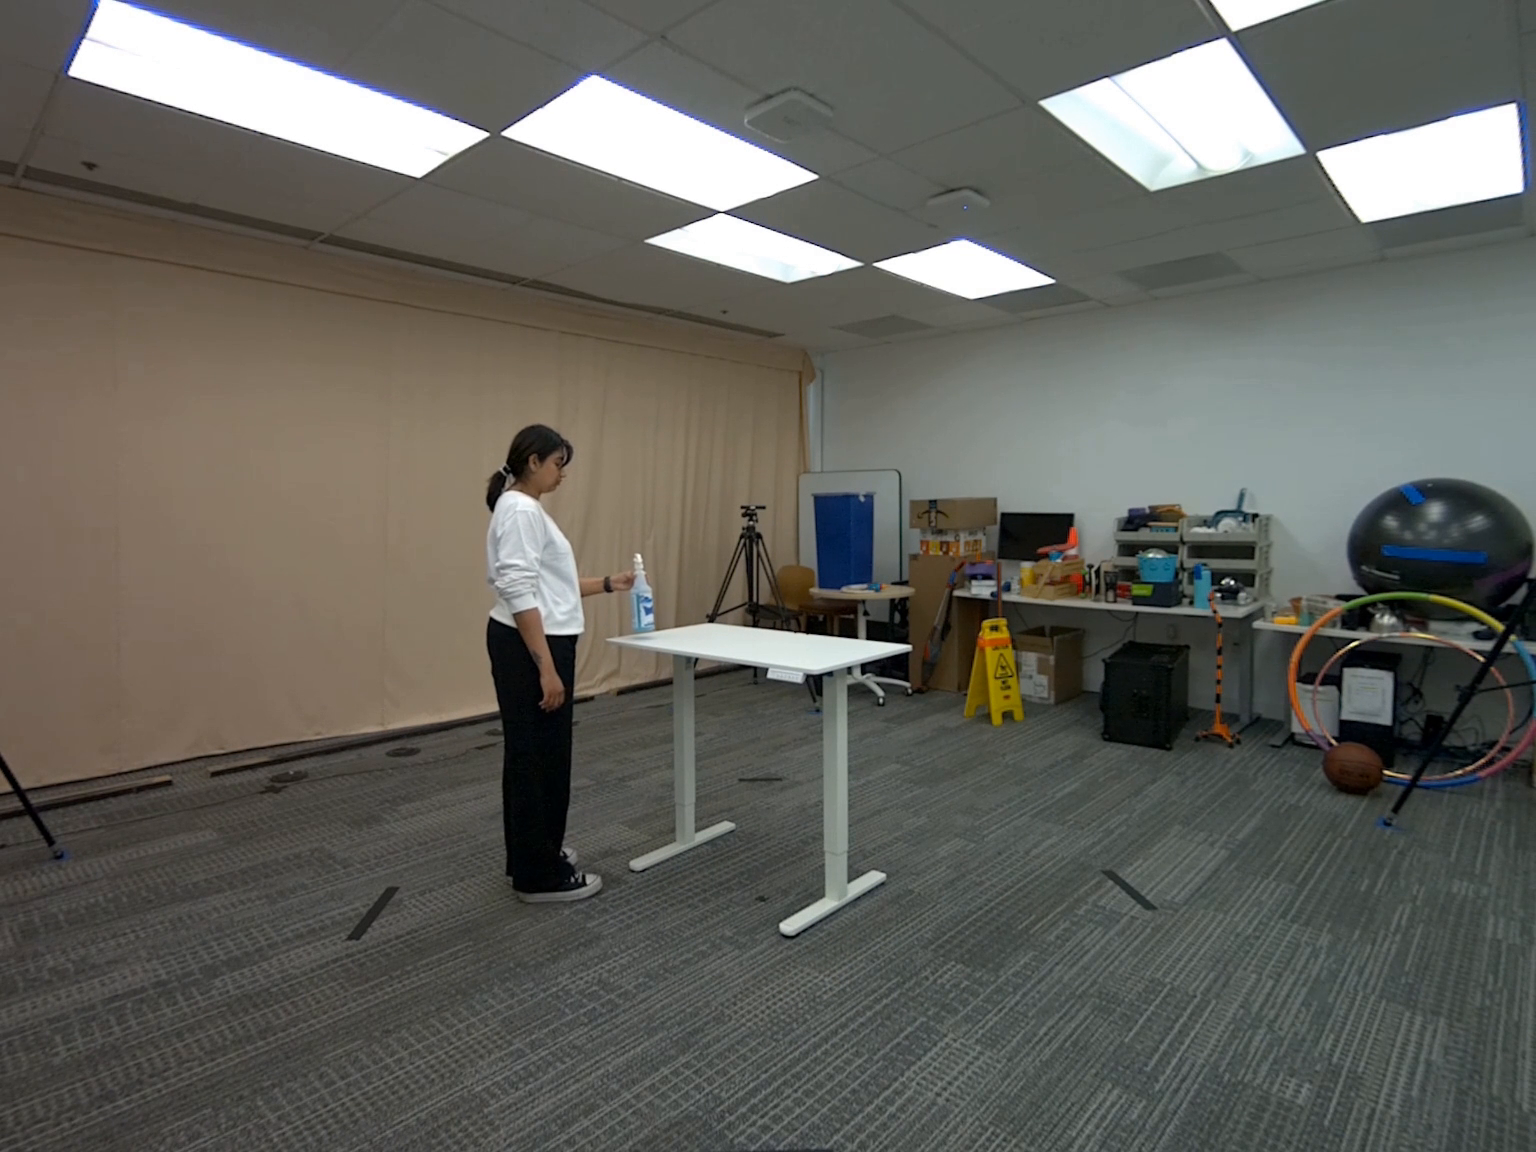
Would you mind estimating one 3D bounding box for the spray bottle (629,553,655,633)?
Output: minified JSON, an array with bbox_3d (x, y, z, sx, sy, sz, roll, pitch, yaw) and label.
[{"bbox_3d":[-0.492,0.066,3.257,0.088,0.296,0.089,-3,4,11],"label":"spray bottle"}]
